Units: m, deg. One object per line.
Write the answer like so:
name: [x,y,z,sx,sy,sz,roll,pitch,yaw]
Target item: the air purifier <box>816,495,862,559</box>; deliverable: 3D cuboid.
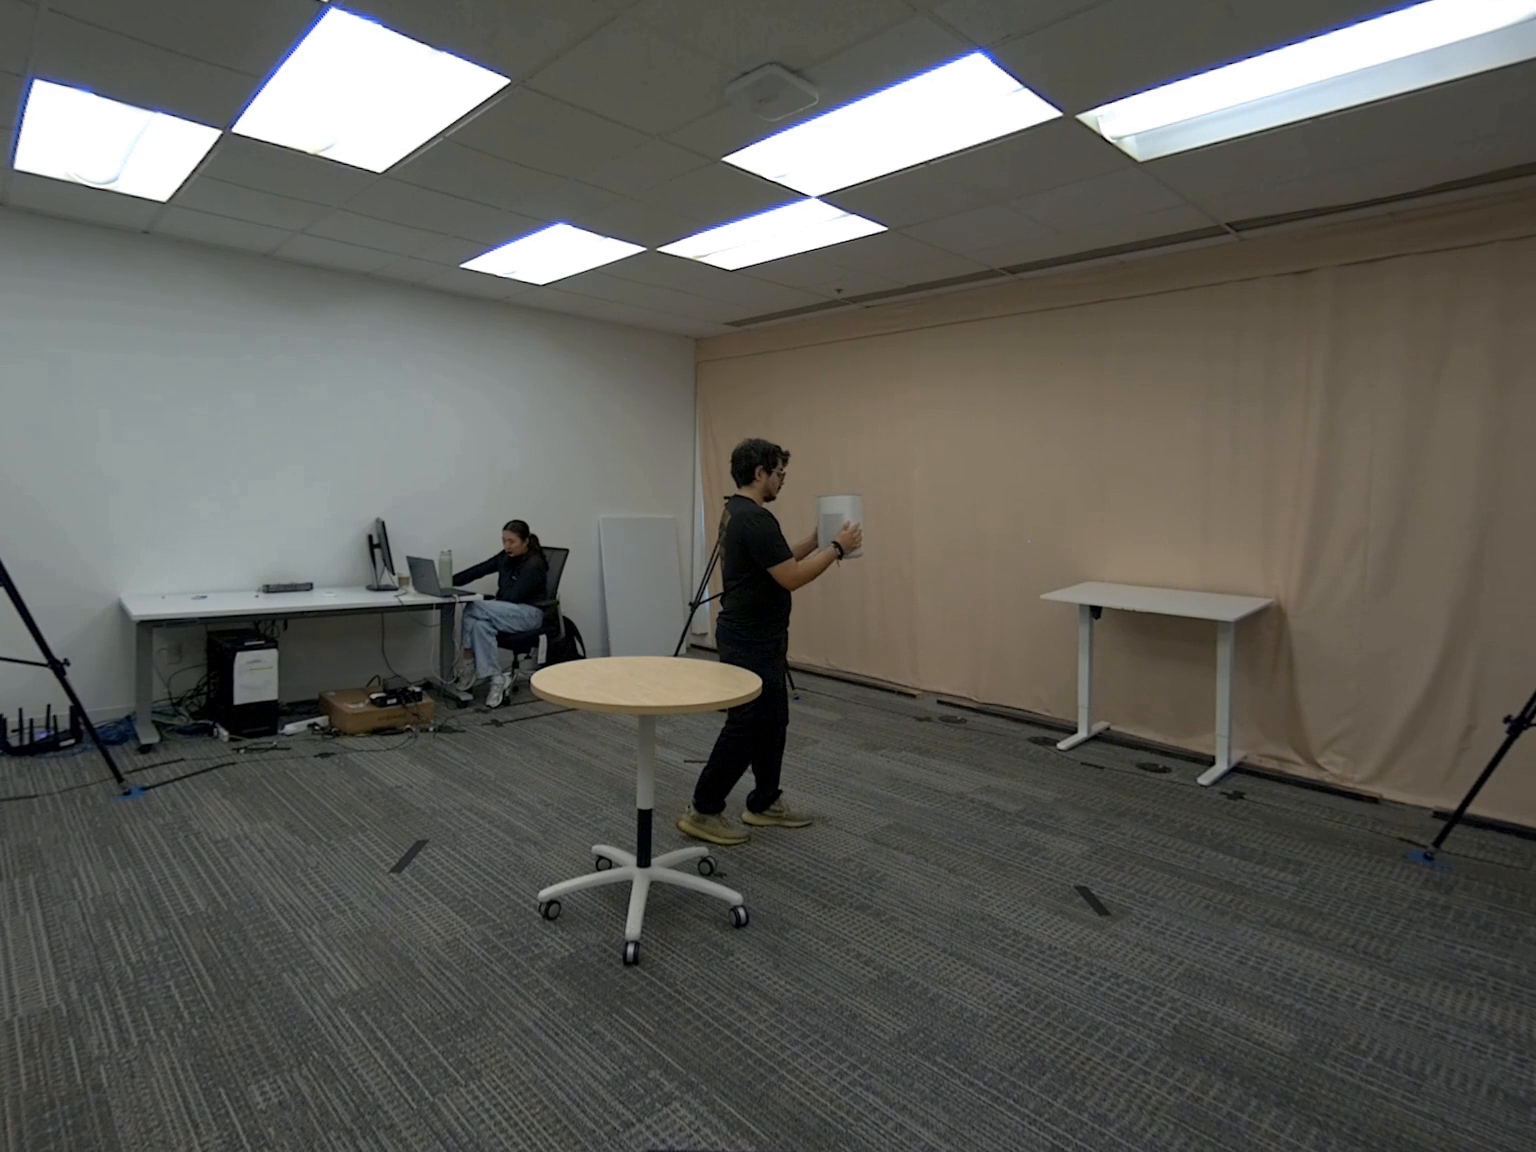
air purifier: [0.296,-0.206,3.524,0.174,0.265,0.168,-2,1,24]
